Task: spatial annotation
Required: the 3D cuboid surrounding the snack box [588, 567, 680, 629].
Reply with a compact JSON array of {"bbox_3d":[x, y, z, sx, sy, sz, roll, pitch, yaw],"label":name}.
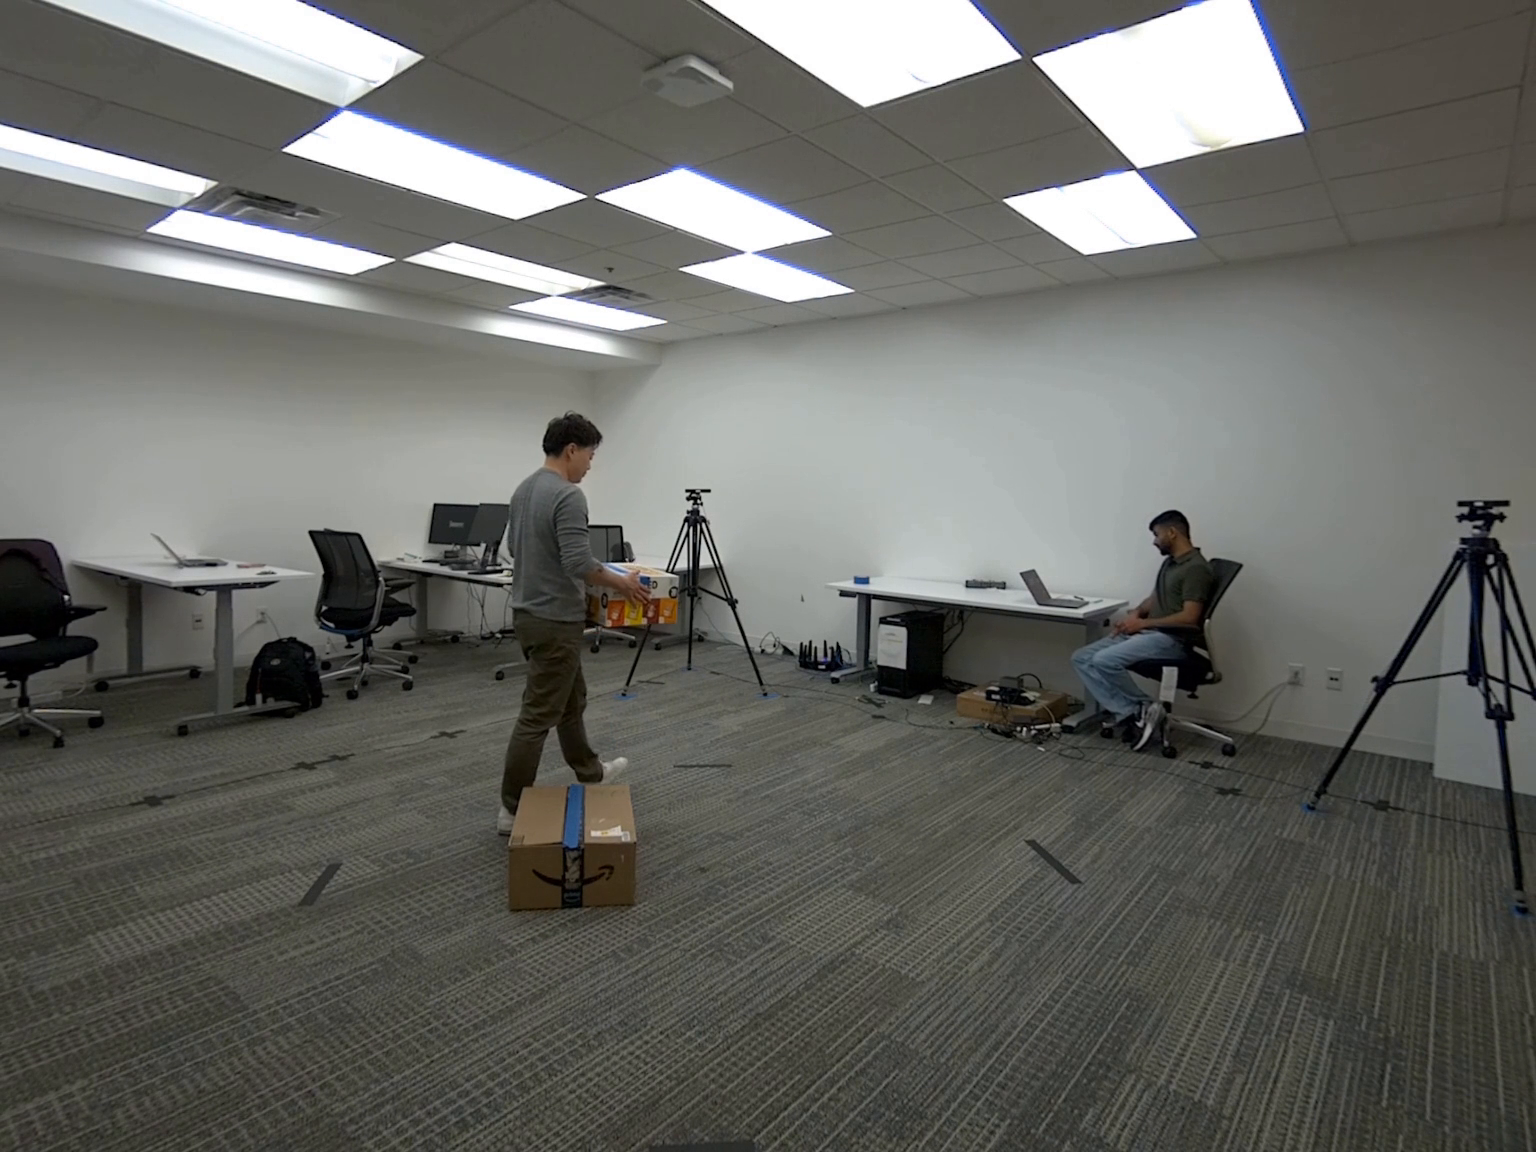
[{"bbox_3d":[-0.650,0.073,3.693,0.330,0.204,0.420,0,9,-36],"label":"snack box"}]
